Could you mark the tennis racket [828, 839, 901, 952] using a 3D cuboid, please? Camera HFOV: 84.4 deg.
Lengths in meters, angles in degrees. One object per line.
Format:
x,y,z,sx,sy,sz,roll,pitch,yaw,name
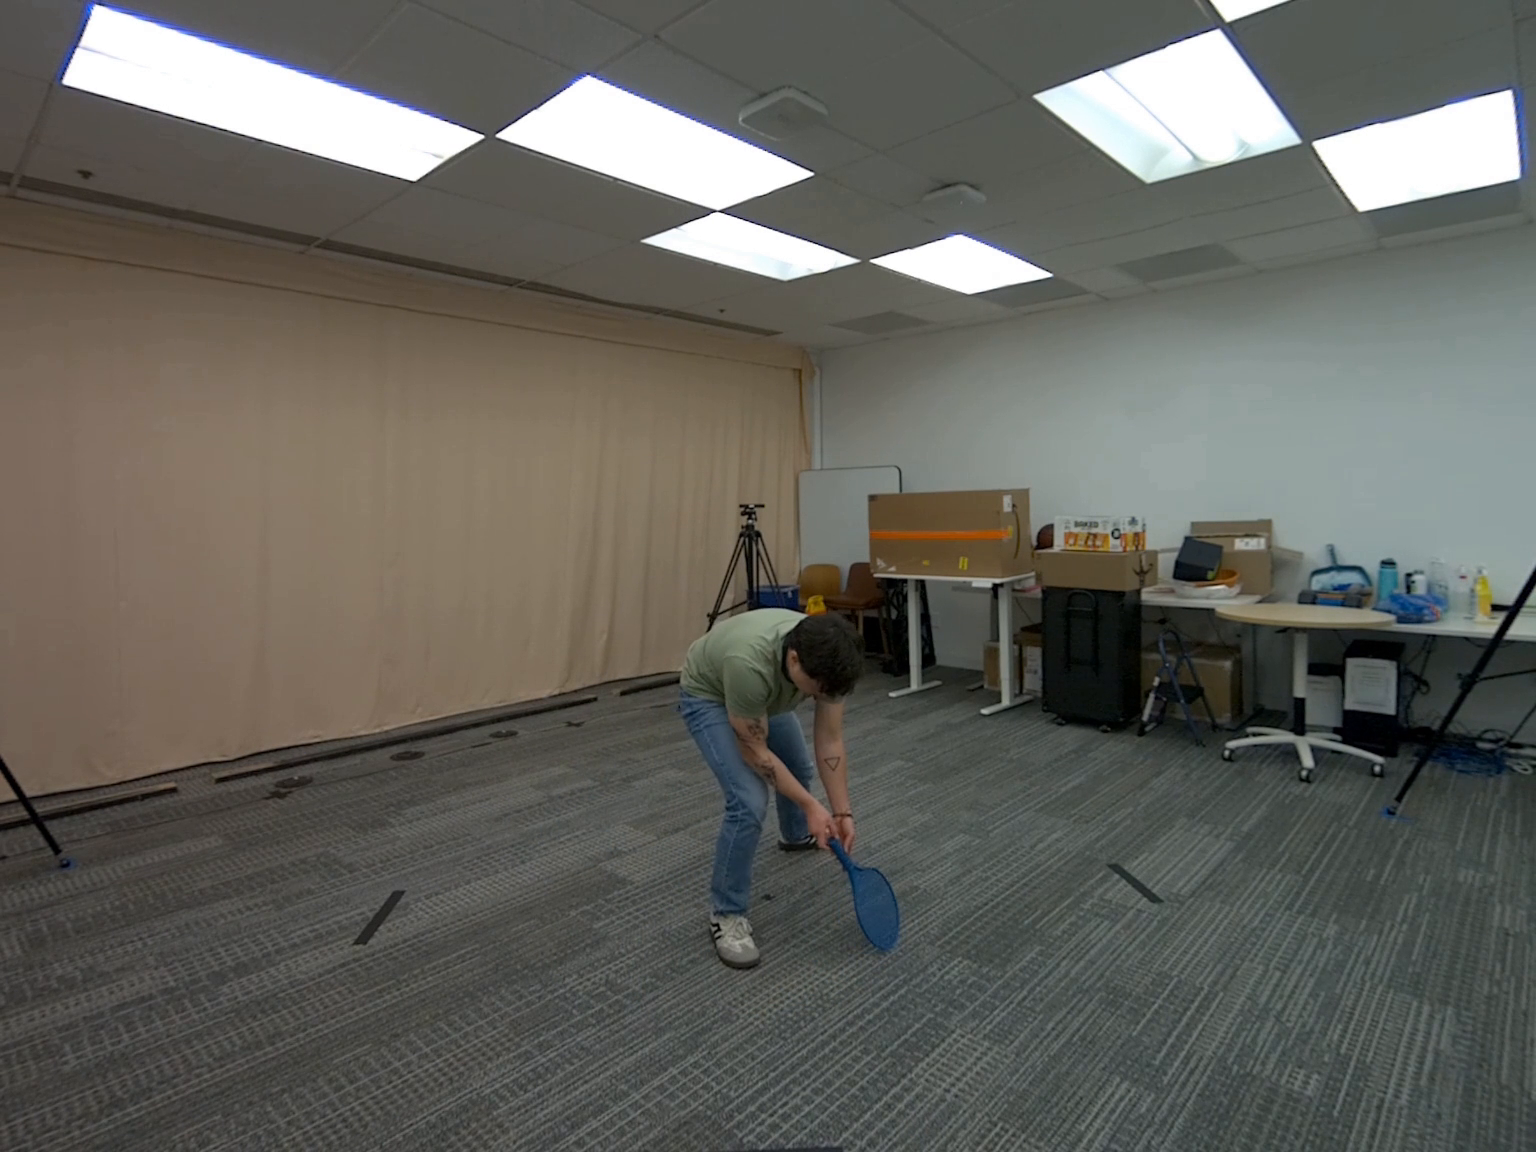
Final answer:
0.312,0.976,2.608,0.032,0.426,0.212,-20,19,35,tennis racket
